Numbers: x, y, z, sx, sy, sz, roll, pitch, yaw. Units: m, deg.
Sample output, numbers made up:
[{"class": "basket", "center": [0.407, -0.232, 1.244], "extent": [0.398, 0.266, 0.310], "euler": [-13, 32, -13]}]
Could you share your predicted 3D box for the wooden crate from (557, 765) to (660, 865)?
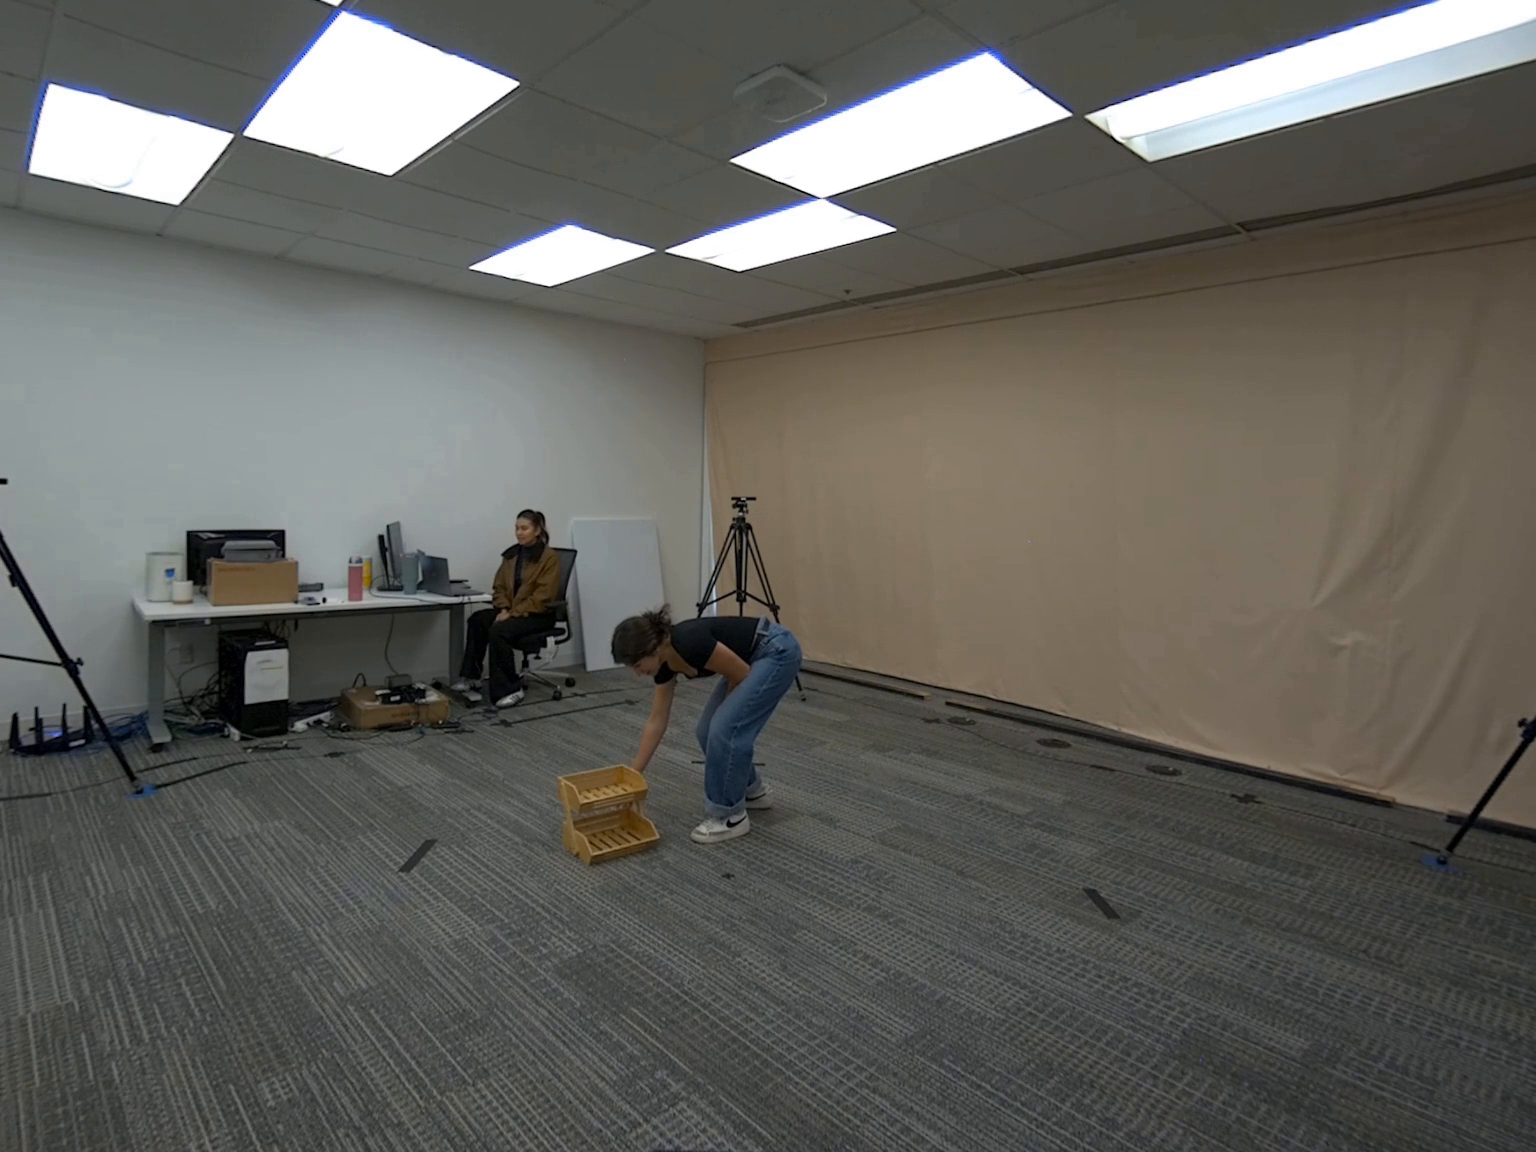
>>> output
[{"class": "wooden crate", "center": [-0.643, 0.938, 3.350], "extent": [0.317, 0.273, 0.309], "euler": [-2, 5, -39]}]
